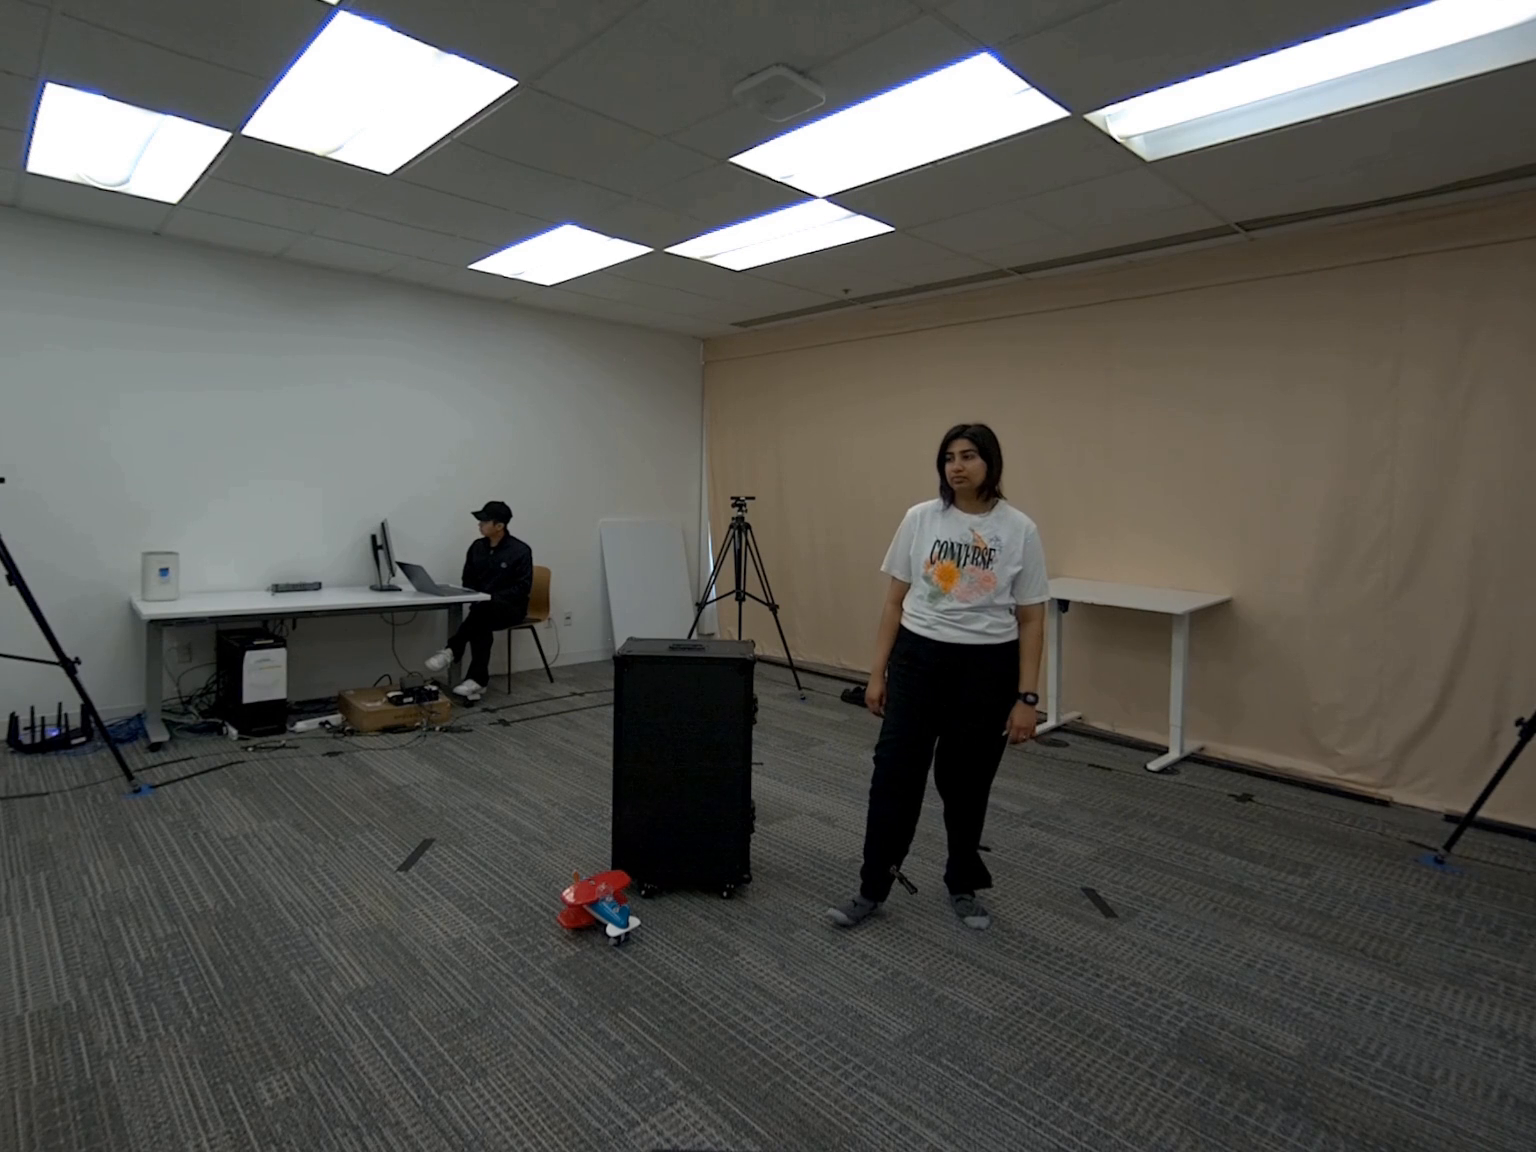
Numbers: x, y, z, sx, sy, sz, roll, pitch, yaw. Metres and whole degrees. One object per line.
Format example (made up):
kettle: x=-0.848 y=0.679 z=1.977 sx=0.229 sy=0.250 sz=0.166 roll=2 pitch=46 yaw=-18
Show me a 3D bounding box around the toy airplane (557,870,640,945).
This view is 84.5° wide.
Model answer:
toy airplane: x=-0.525 y=1.059 z=2.689 sx=0.262 sy=0.156 sz=0.249 roll=2 pitch=6 yaw=15
